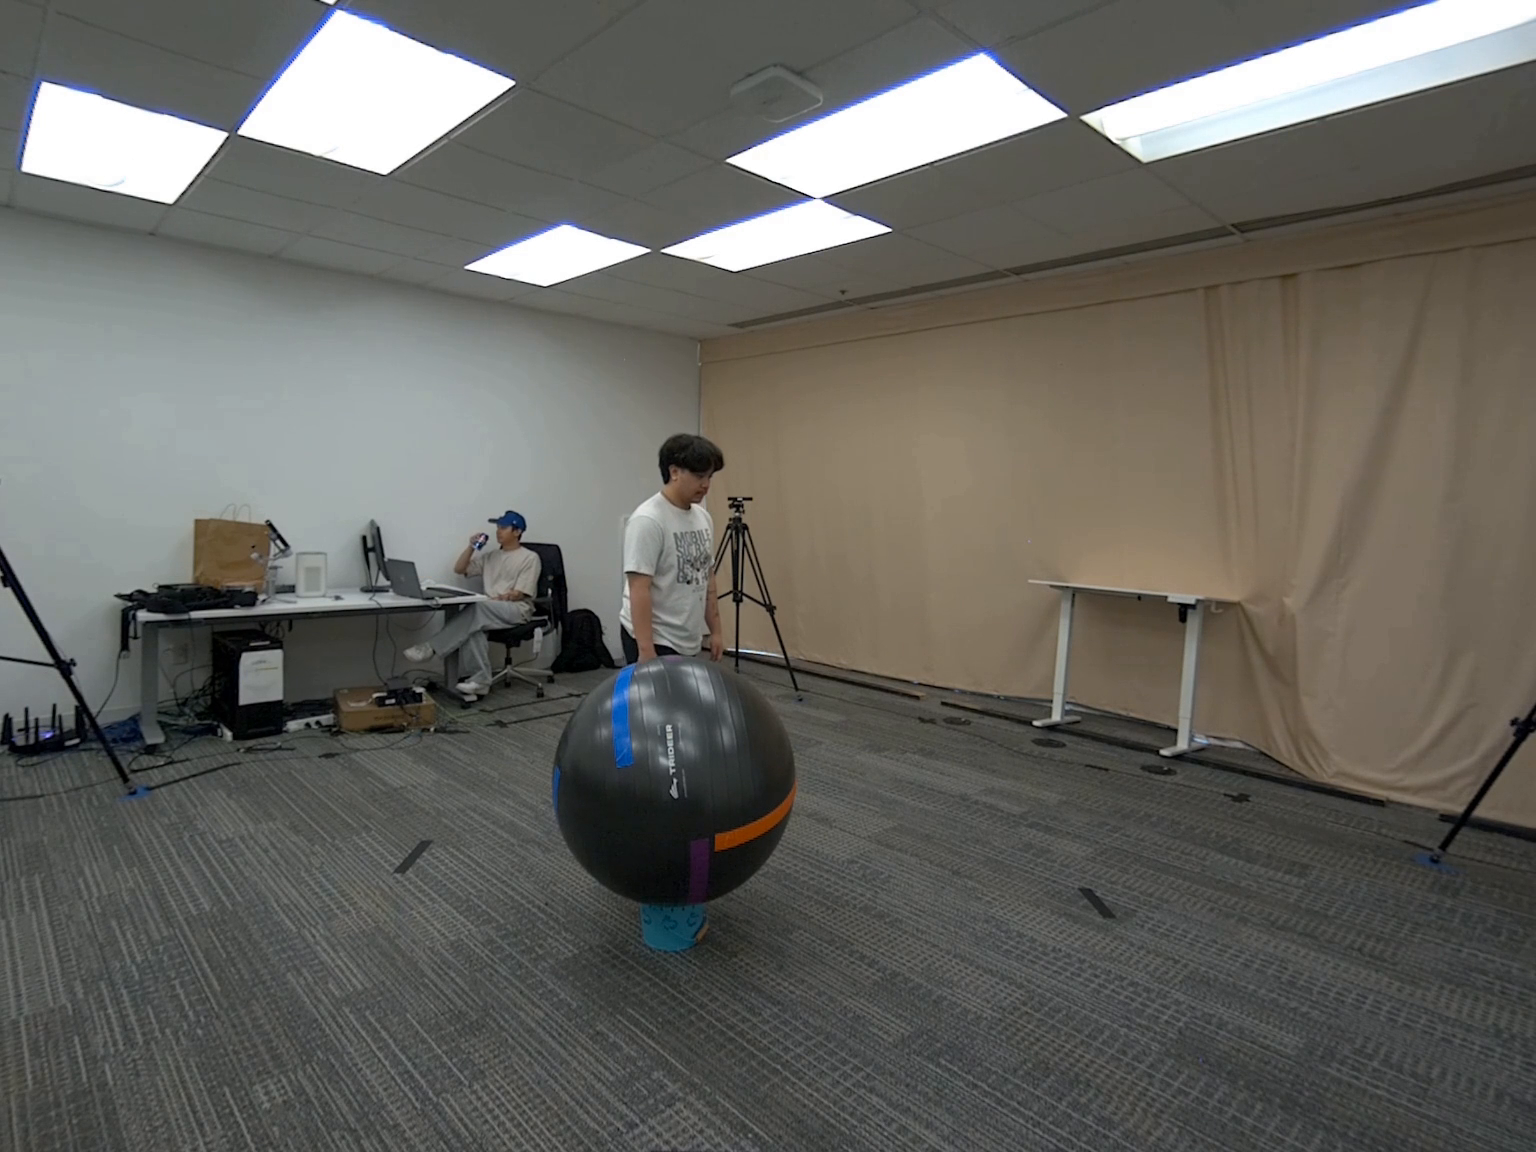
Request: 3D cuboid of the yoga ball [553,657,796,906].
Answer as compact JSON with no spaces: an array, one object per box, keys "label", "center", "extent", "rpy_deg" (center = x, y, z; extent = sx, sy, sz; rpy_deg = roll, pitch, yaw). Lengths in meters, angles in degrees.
[{"label":"yoga ball","center":[-0.301,0.636,2.645],"extent":[0.757,0.756,0.760],"rpy_deg":[1,4,-1]}]
